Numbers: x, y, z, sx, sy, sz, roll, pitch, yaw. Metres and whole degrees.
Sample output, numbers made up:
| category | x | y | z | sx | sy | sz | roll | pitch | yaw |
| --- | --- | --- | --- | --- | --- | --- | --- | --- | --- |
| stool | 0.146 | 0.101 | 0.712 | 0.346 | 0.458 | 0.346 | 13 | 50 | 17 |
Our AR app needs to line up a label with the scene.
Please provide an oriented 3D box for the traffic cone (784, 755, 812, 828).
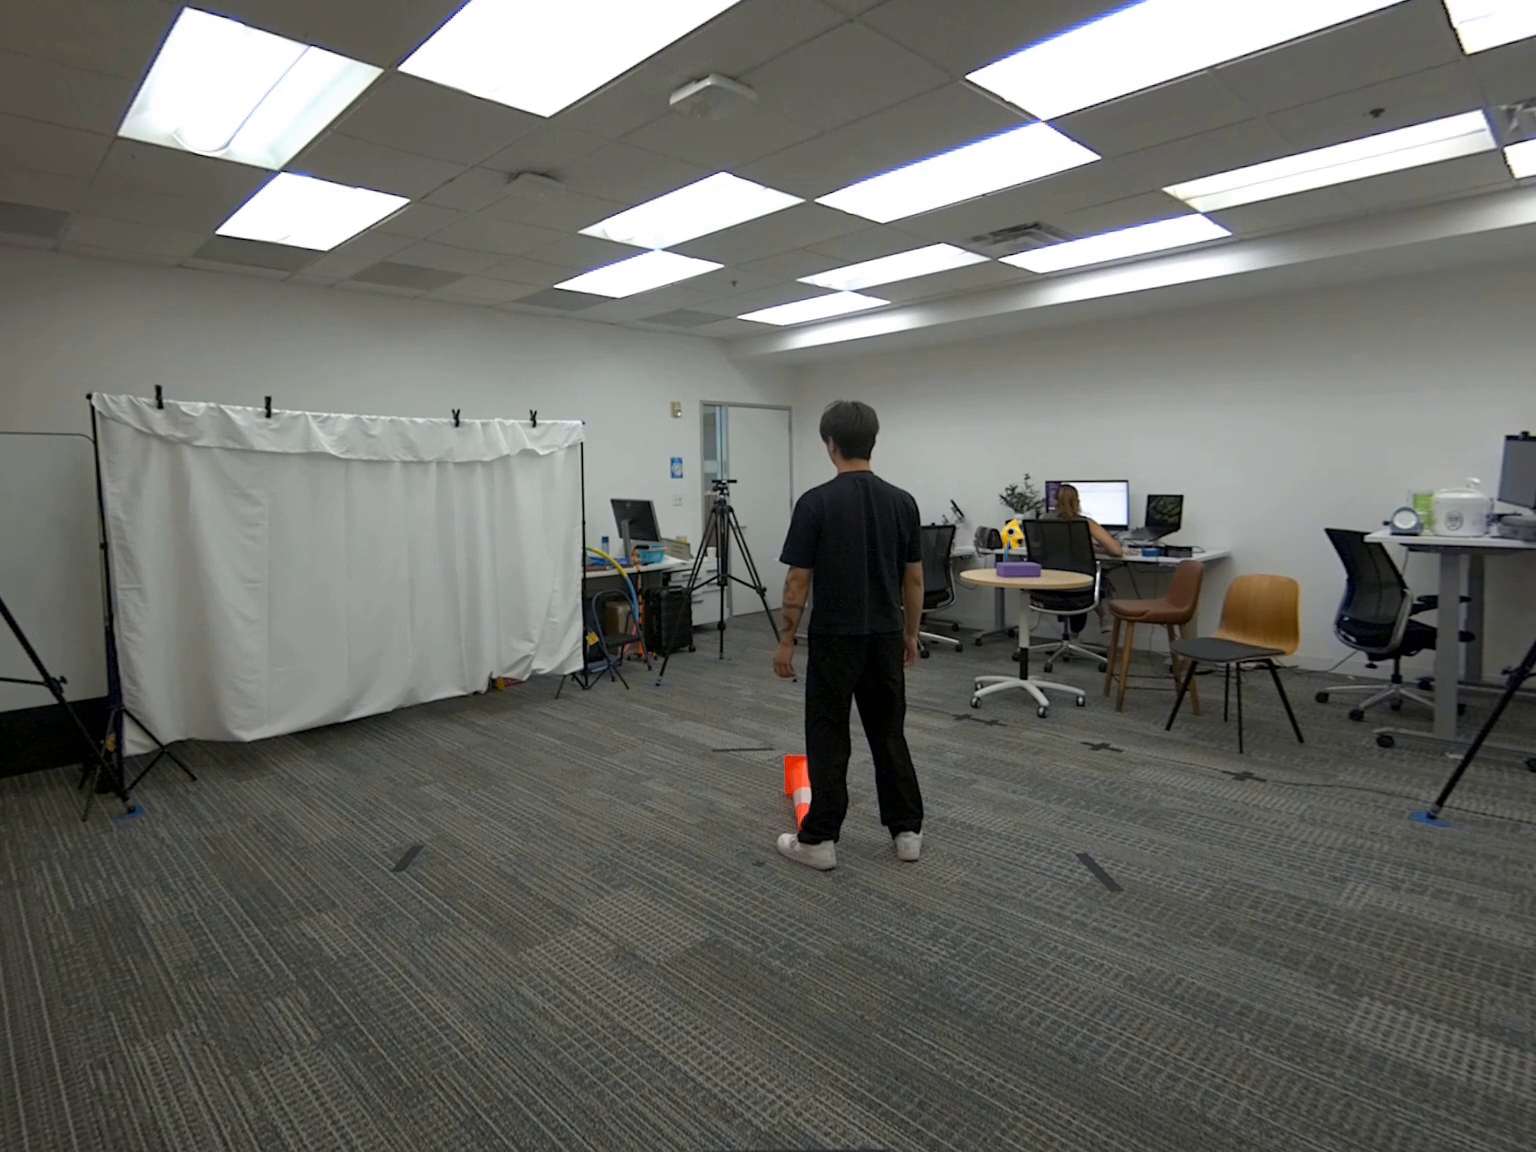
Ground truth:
| category | x | y | z | sx | sy | sz | roll | pitch | yaw |
| --- | --- | --- | --- | --- | --- | --- | --- | --- | --- |
| traffic cone | 0.168 | 0.952 | 3.572 | 0.206 | 0.200 | 0.389 | 0 | 21 | 4 |
